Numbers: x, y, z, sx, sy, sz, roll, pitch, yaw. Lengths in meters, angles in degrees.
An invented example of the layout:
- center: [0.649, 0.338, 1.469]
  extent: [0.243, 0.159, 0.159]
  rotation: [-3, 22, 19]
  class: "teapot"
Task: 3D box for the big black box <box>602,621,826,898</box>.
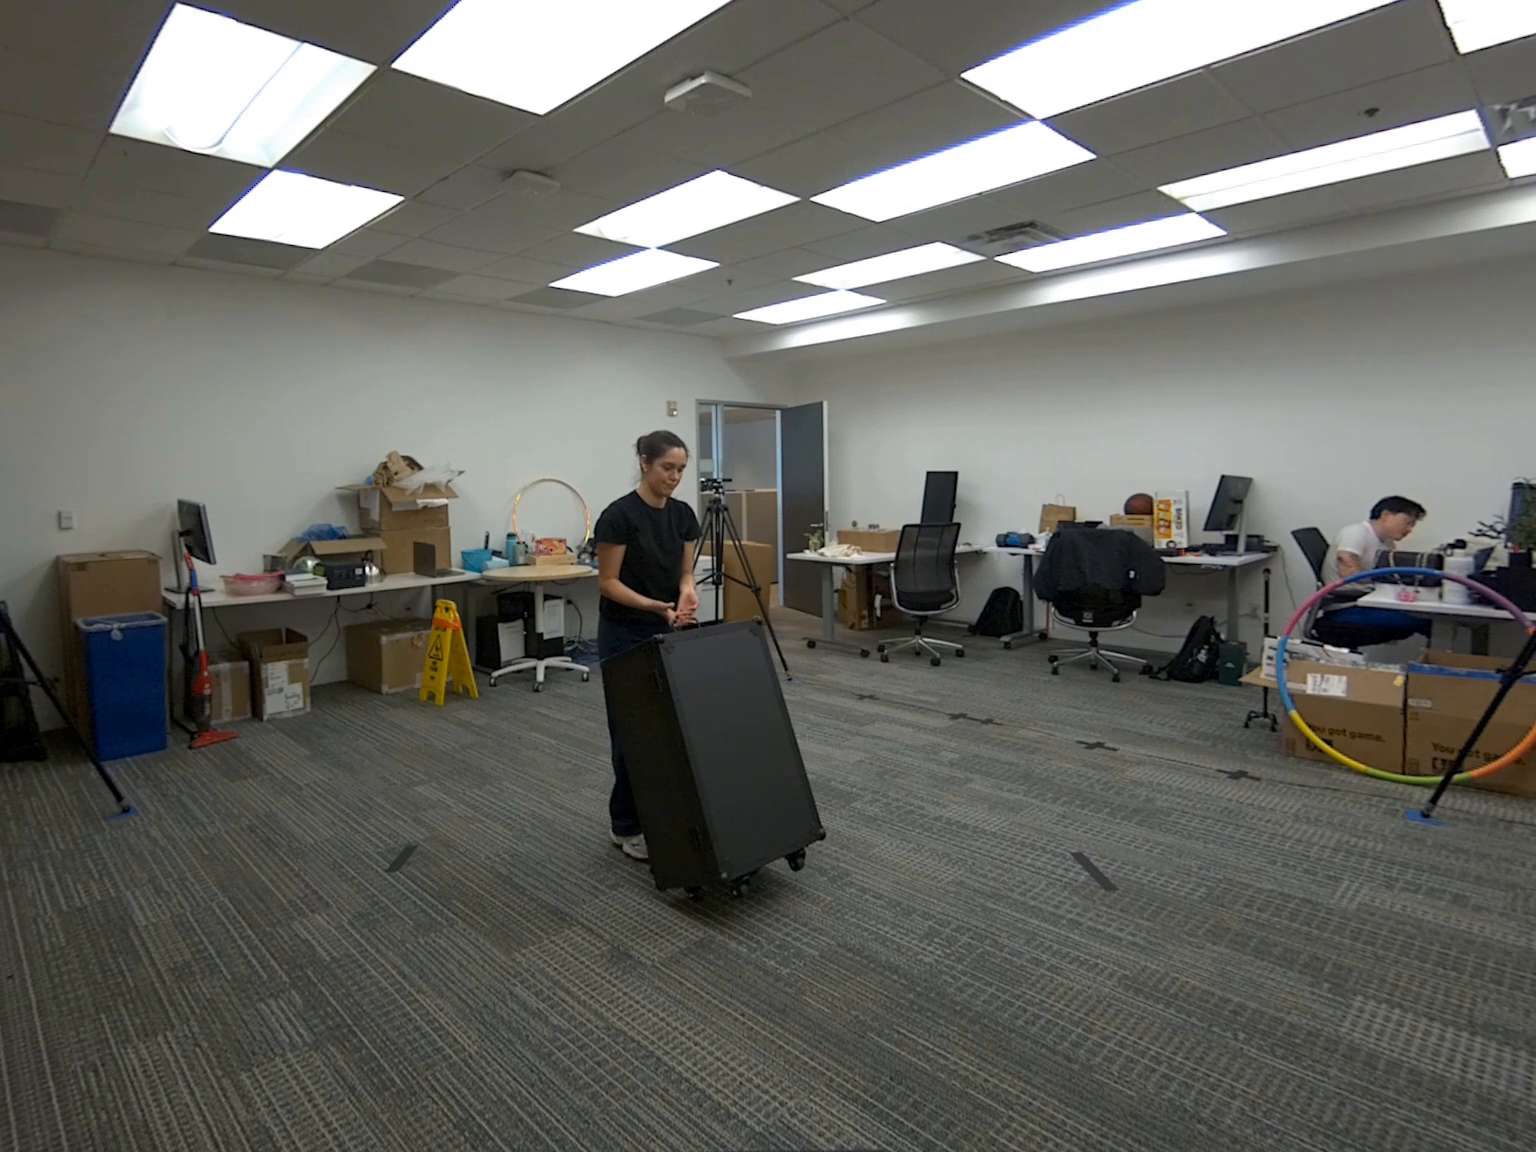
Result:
- center: [-0.194, 0.631, 2.954]
  extent: [0.508, 0.874, 0.401]
  rotation: [-6, -16, -44]
  class: "big black box"
